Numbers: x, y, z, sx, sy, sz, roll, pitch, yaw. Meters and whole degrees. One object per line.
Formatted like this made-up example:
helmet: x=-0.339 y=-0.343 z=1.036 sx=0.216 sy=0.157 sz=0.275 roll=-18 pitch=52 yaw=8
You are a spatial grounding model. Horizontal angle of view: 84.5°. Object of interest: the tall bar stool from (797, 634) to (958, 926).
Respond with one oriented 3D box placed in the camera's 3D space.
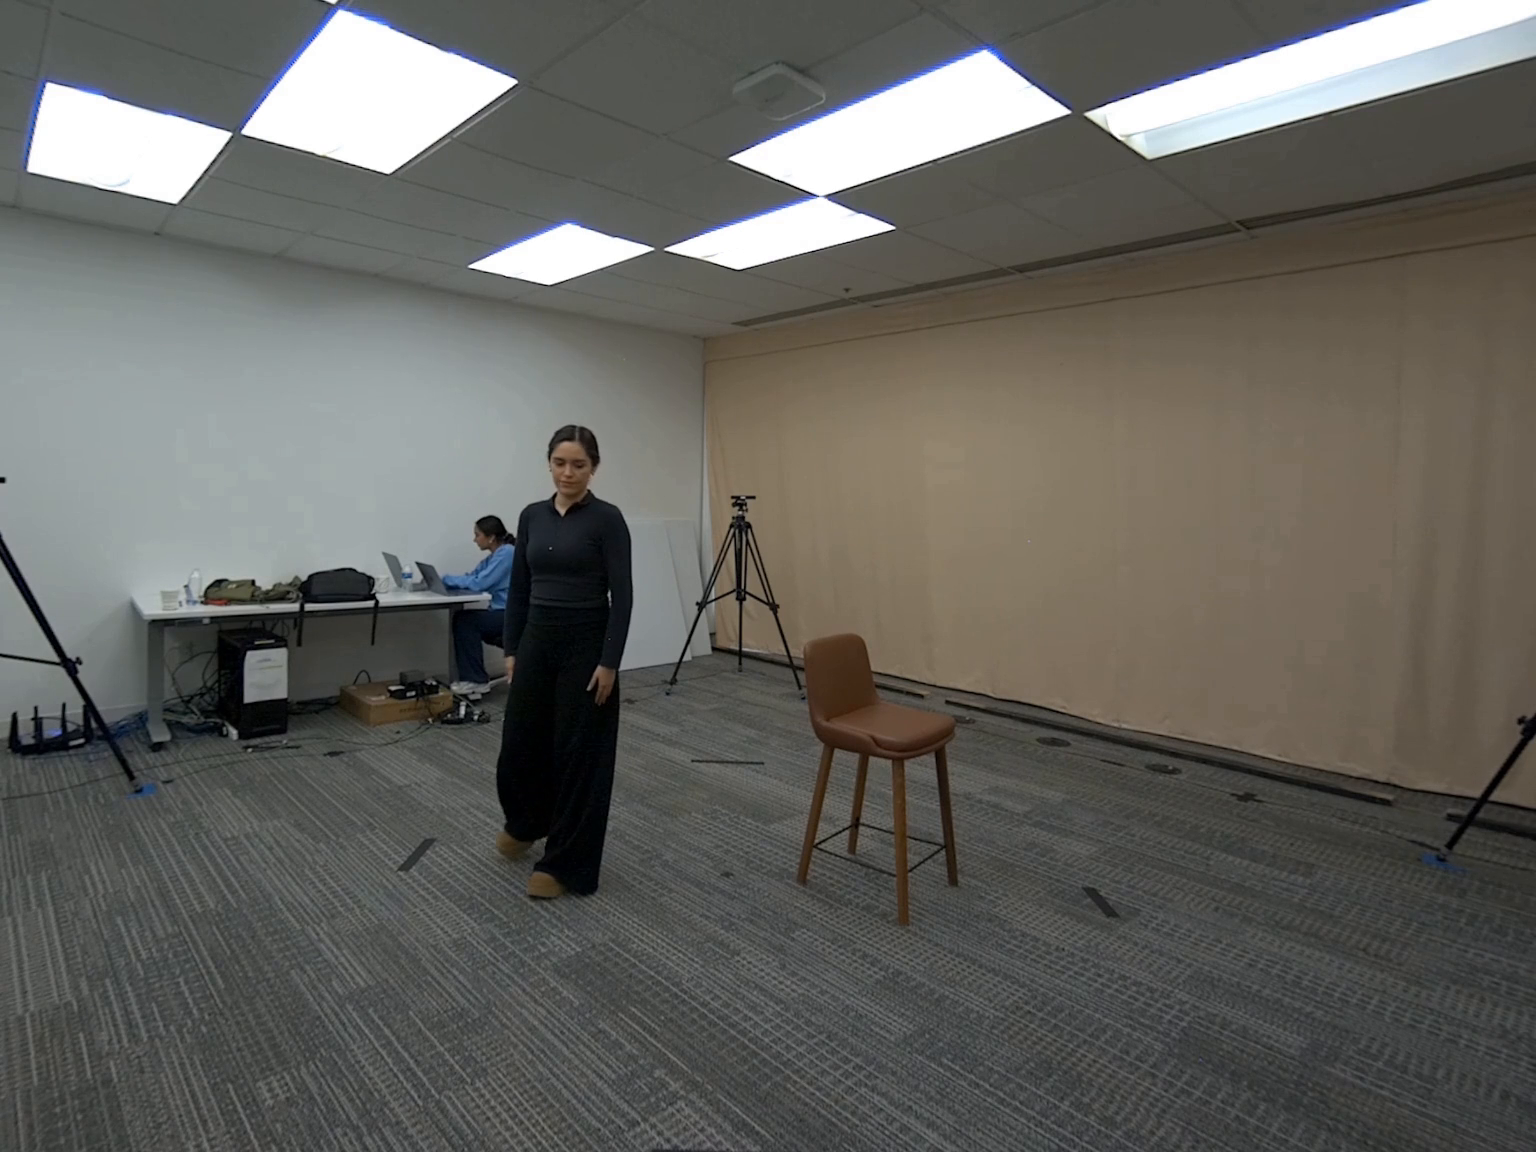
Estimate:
tall bar stool: x=0.403 y=0.691 z=3.034 sx=0.479 sy=0.888 sz=0.446 roll=3 pitch=3 yaw=38
